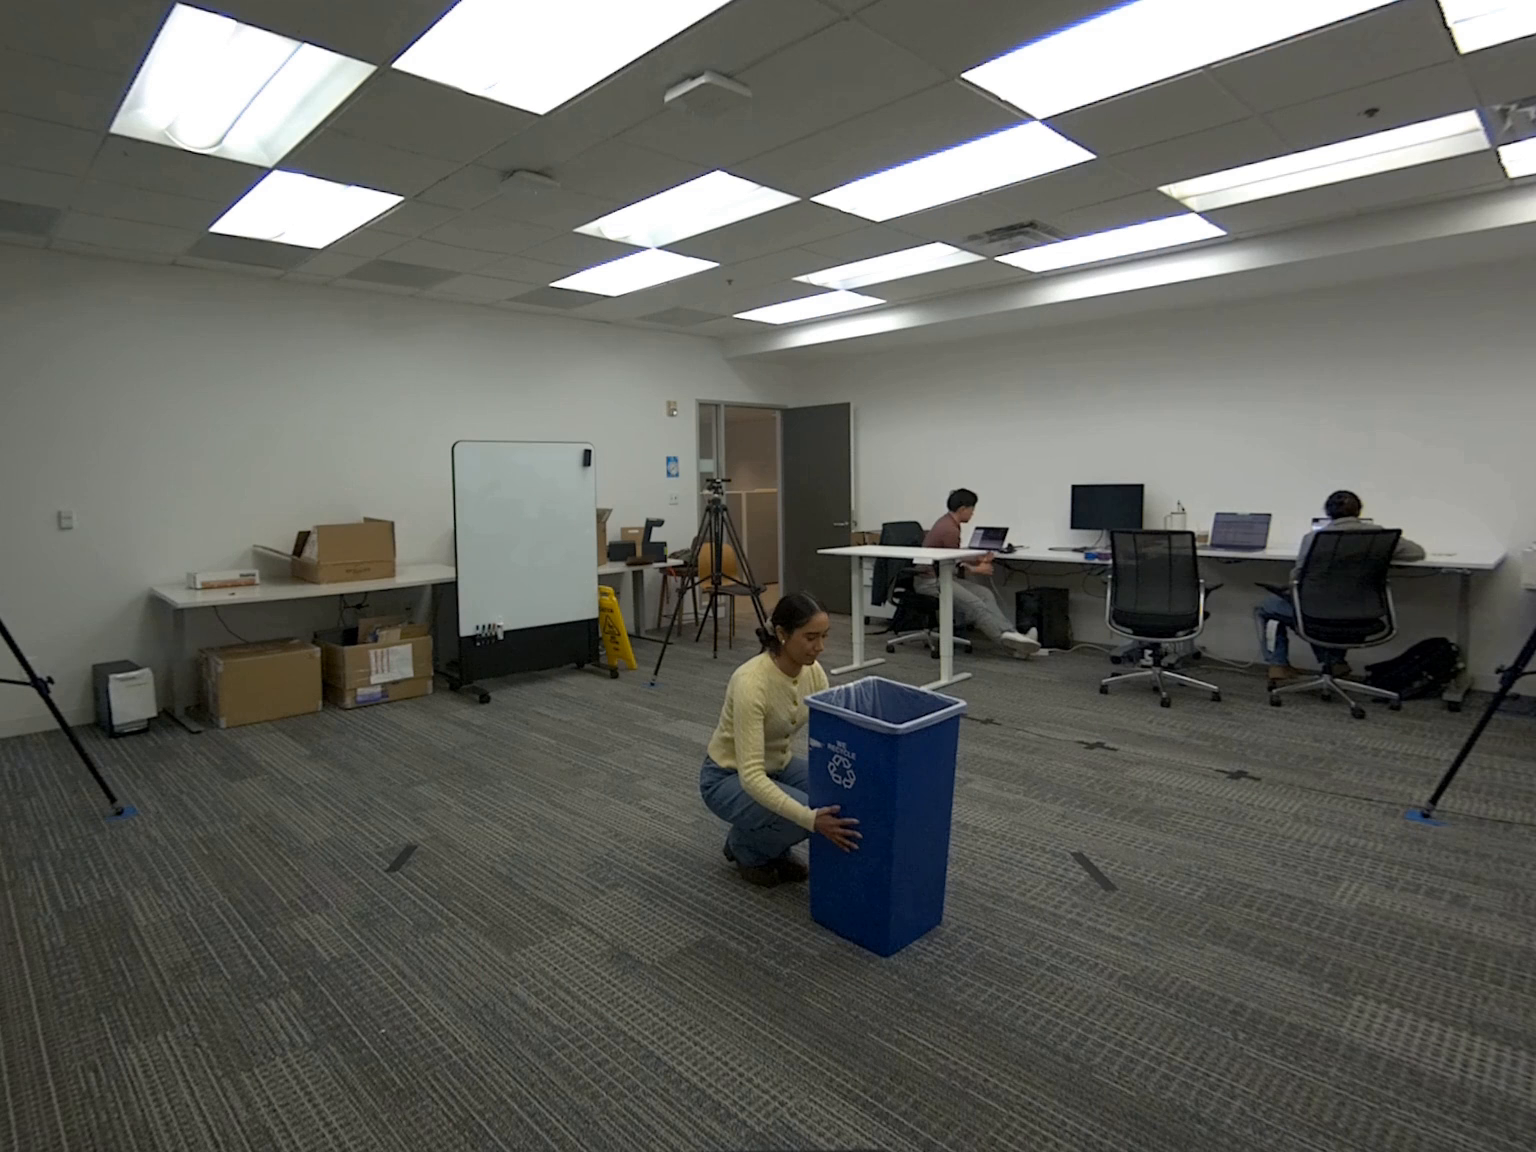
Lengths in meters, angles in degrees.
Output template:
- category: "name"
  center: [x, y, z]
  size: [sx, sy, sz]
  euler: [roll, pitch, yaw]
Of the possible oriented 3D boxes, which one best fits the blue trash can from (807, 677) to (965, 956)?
- category: "blue trash can"
  center: [0.355, 0.723, 2.640]
  size: [0.386, 0.709, 0.368]
  euler: [7, 10, 44]
